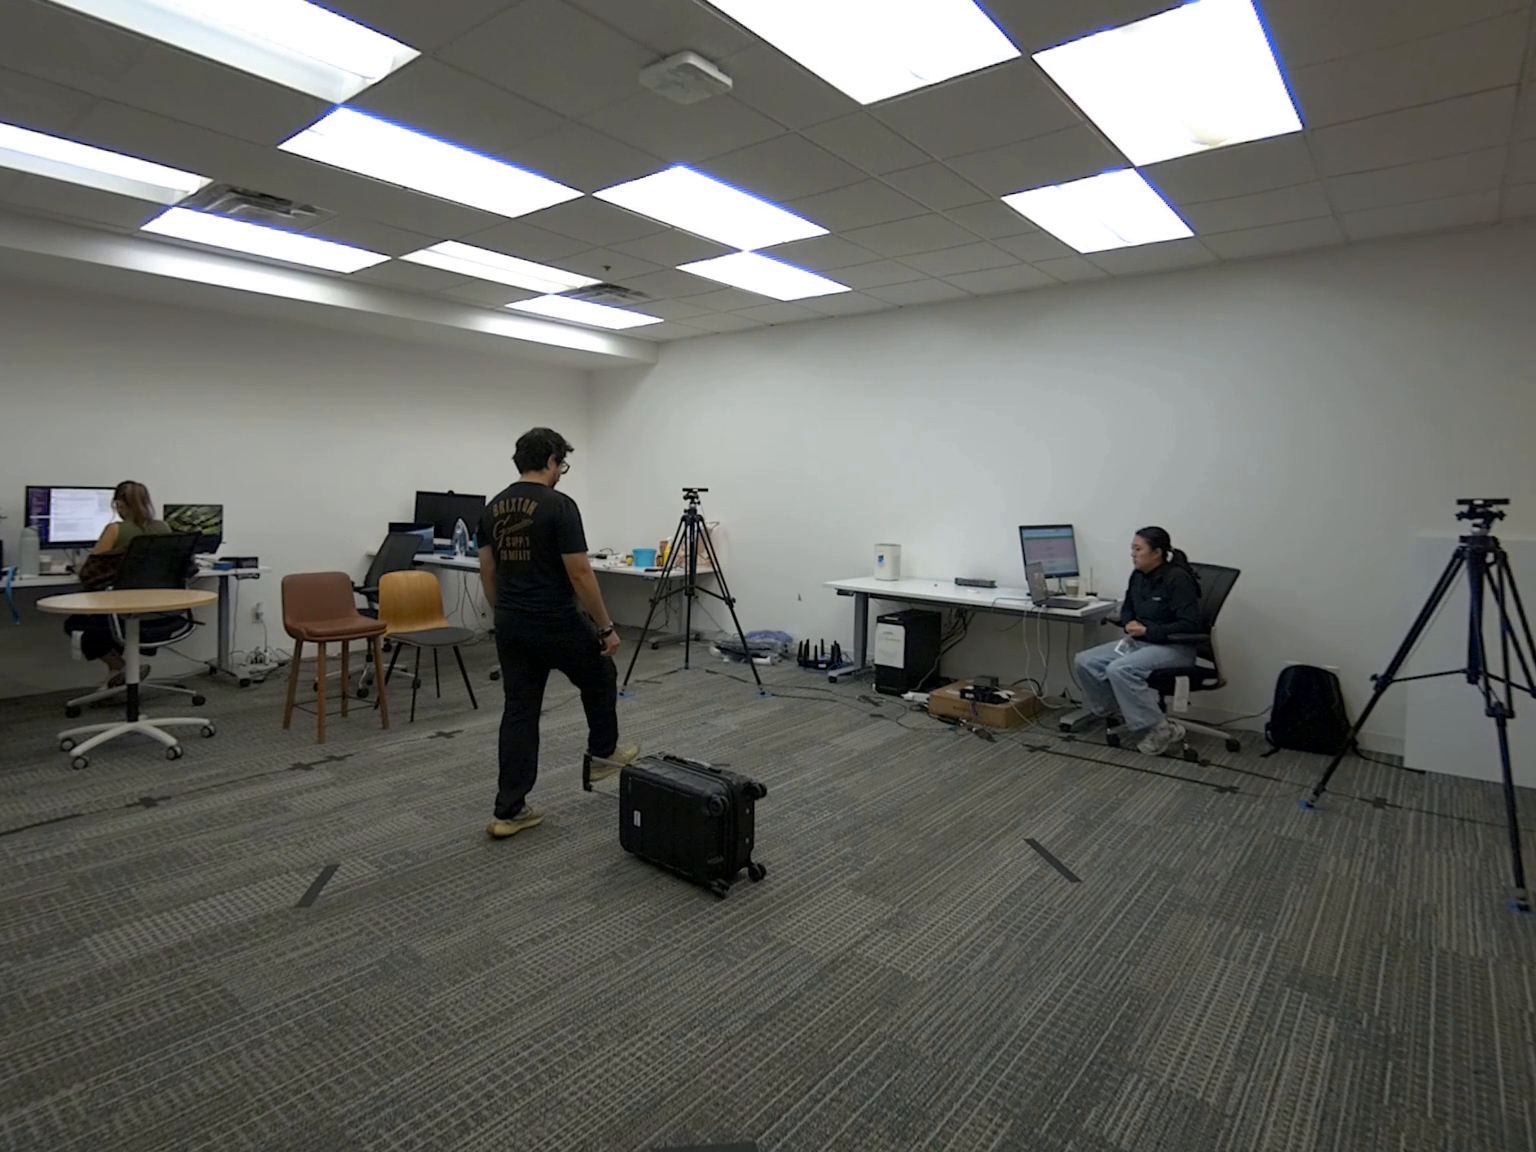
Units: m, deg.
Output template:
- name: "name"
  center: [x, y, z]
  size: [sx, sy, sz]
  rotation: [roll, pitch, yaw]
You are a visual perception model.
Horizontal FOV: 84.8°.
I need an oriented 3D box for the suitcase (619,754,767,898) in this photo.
- name: "suitcase"
  center: [-0.471, 0.864, 3.249]
  size: [1.011, 0.383, 0.249]
  rotation: [5, 5, 39]
